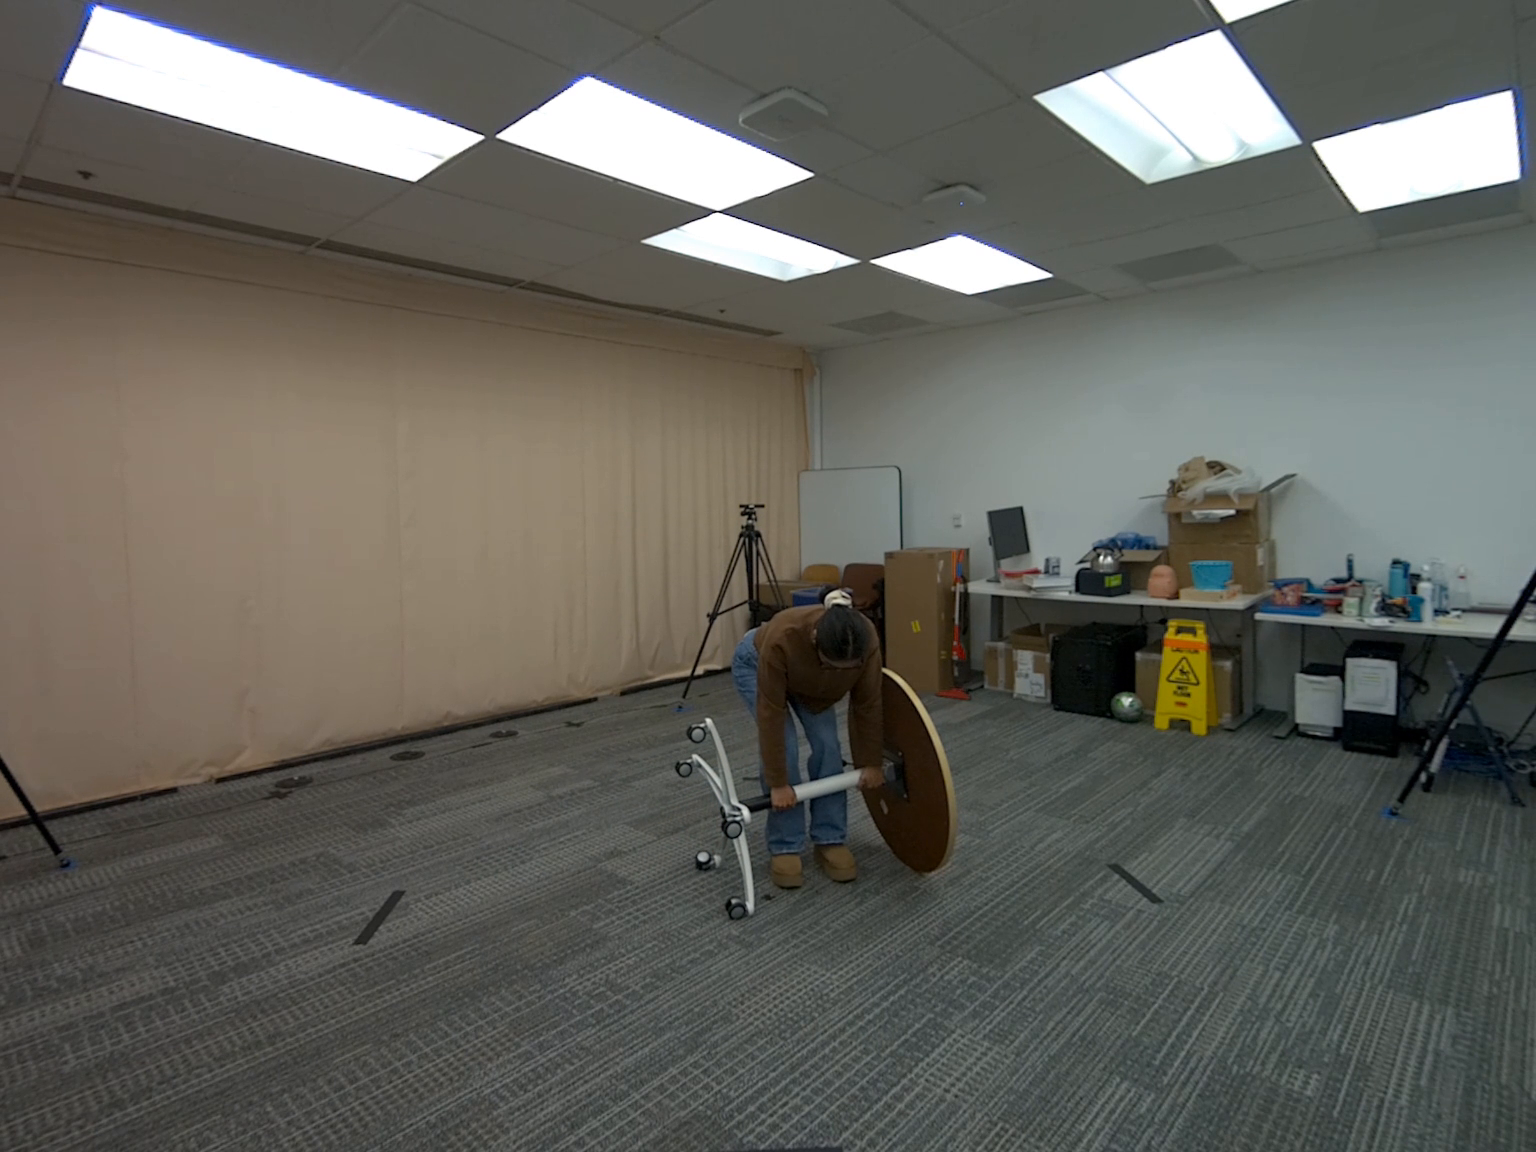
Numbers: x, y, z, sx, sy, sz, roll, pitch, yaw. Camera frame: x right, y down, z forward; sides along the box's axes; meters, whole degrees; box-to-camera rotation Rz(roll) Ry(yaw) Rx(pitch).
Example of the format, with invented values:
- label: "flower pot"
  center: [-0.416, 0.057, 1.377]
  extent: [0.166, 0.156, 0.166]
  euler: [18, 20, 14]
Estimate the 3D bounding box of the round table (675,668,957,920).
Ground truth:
- label: "round table"
  center: [0.127, 0.803, 3.107]
  extent: [0.782, 0.760, 0.779]
  euler: [-10, 6, -17]
